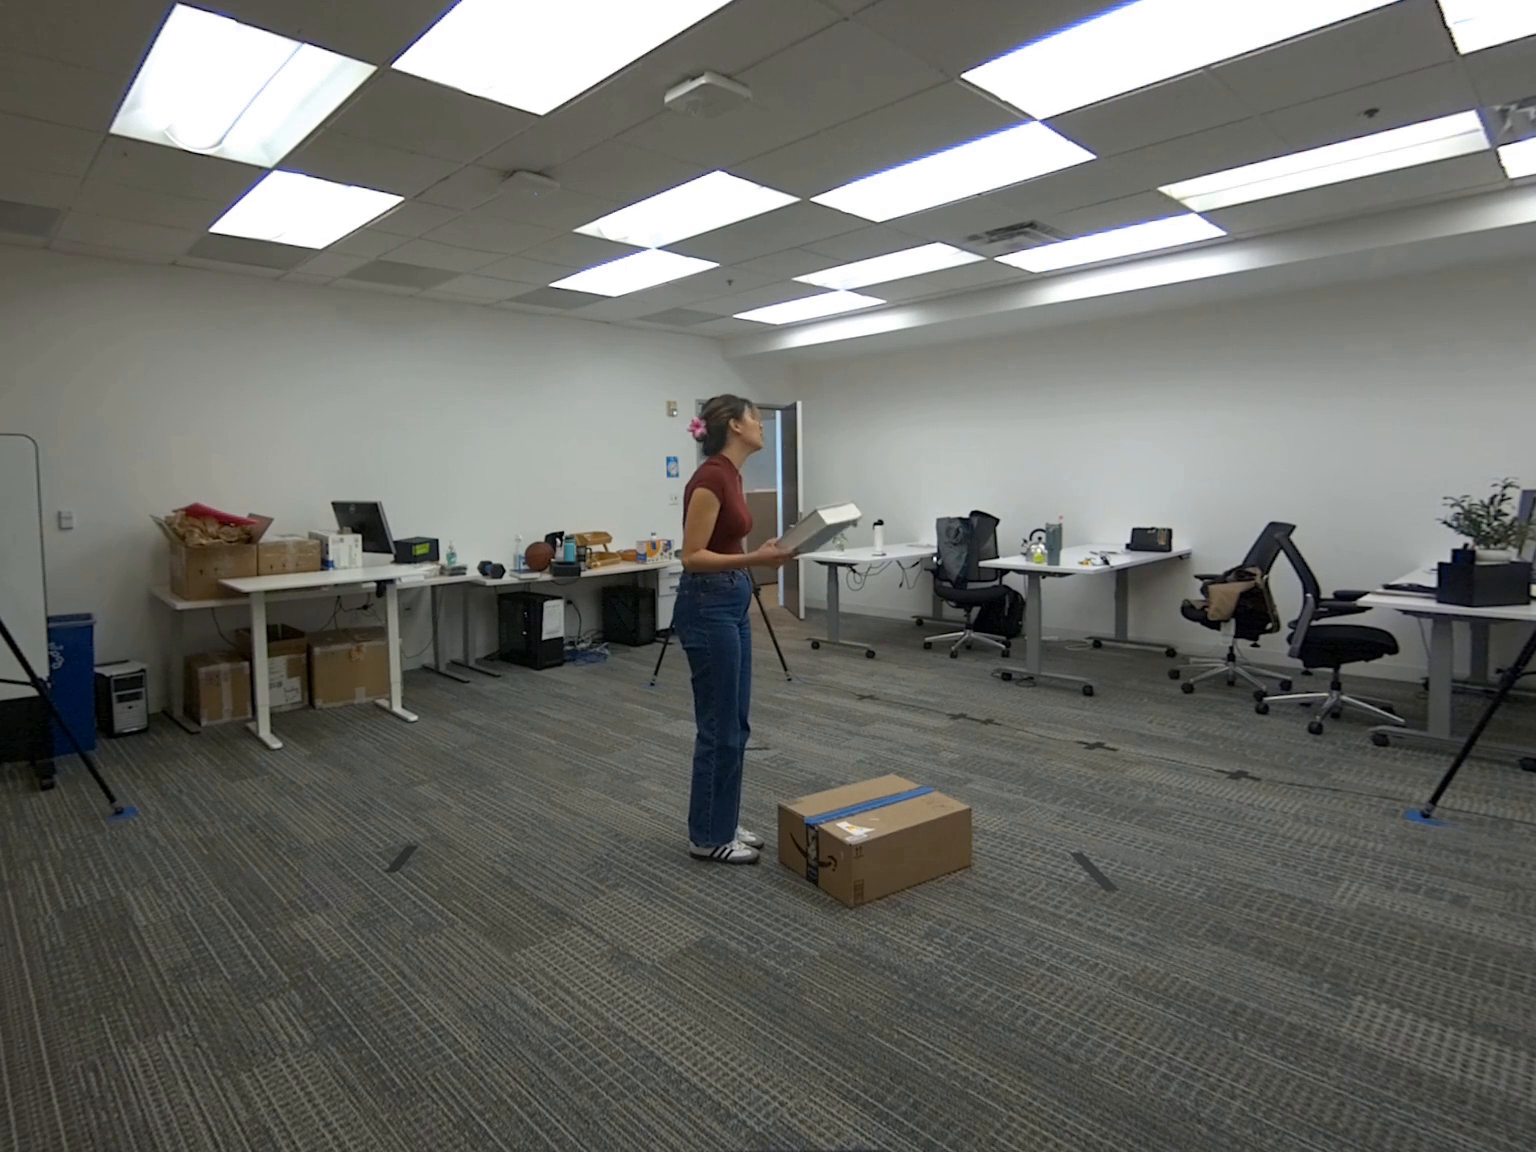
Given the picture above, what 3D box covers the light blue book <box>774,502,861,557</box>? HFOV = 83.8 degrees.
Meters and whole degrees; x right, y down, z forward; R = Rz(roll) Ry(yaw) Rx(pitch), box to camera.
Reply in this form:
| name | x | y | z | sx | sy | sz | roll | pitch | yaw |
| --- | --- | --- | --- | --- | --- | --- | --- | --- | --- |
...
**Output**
| name | x | y | z | sx | sy | sz | roll | pitch | yaw |
| --- | --- | --- | --- | --- | --- | --- | --- | --- | --- |
| light blue book | 0.156 | -0.144 | 2.821 | 0.187 | 0.060 | 0.262 | -15 | -16 | -44 |
